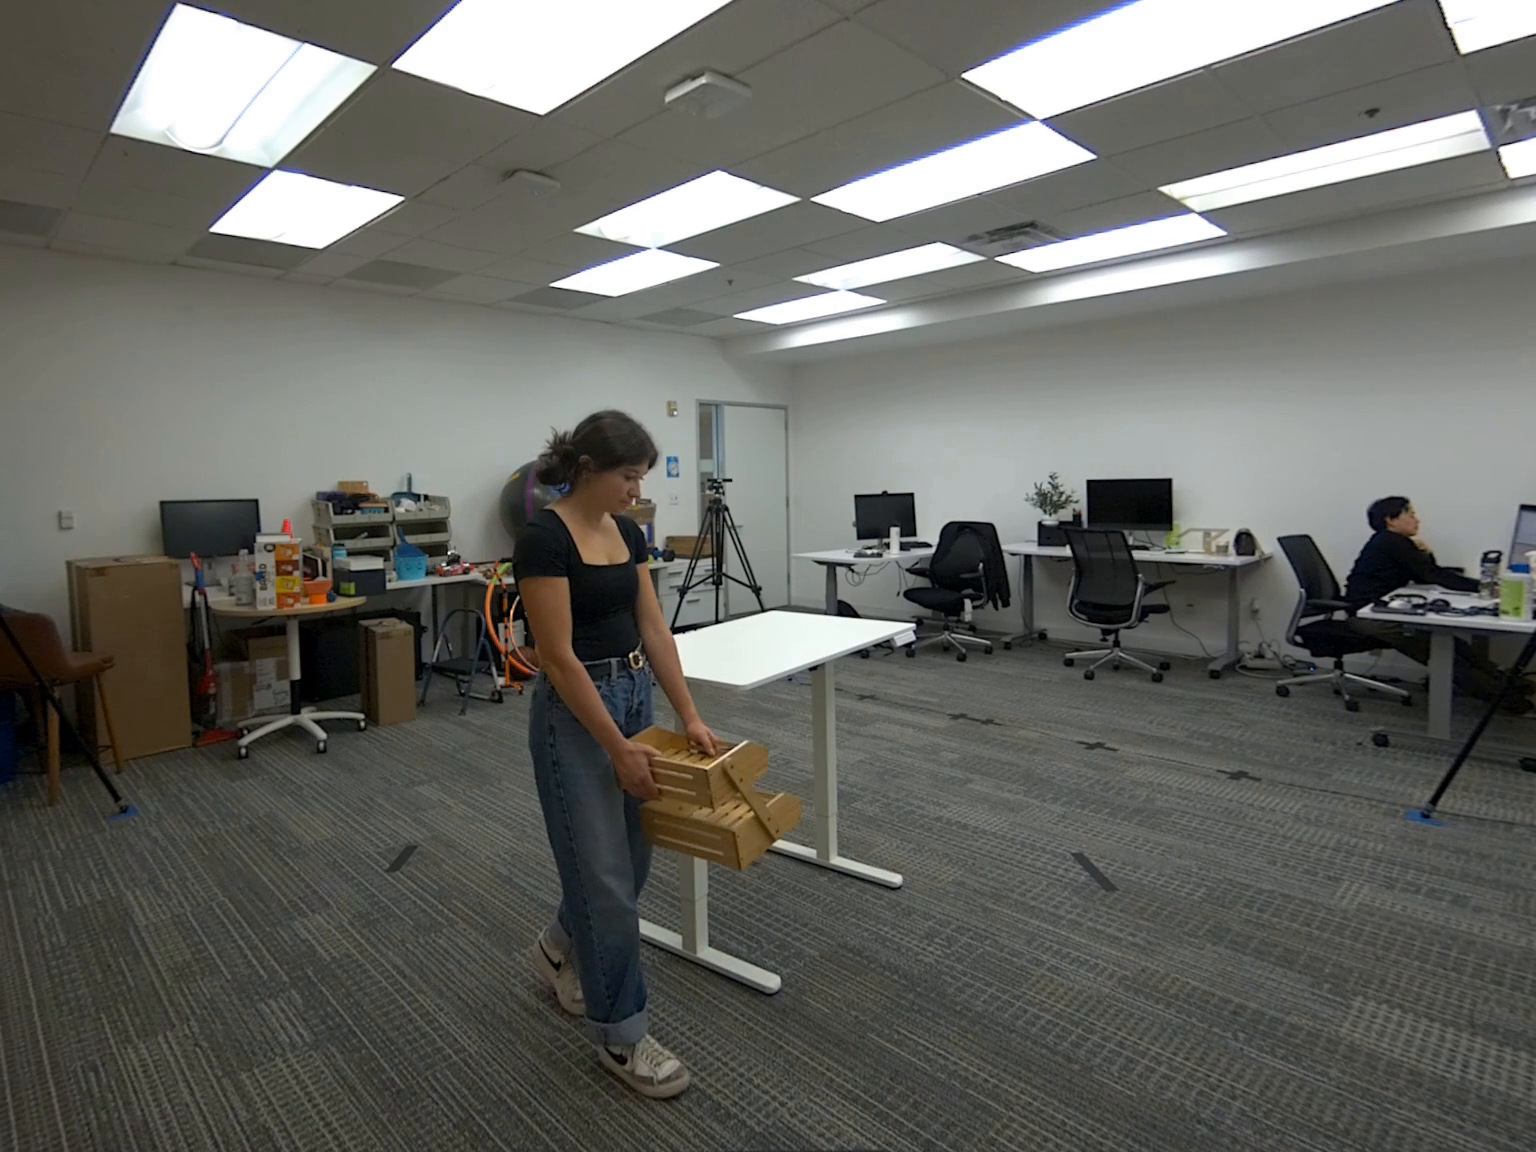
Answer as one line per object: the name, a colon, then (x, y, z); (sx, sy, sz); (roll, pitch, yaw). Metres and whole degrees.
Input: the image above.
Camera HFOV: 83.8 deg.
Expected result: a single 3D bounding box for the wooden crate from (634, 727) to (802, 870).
wooden crate: (-0.140, 0.483, 2.008); (0.333, 0.270, 0.297); (-1, 14, 39)
